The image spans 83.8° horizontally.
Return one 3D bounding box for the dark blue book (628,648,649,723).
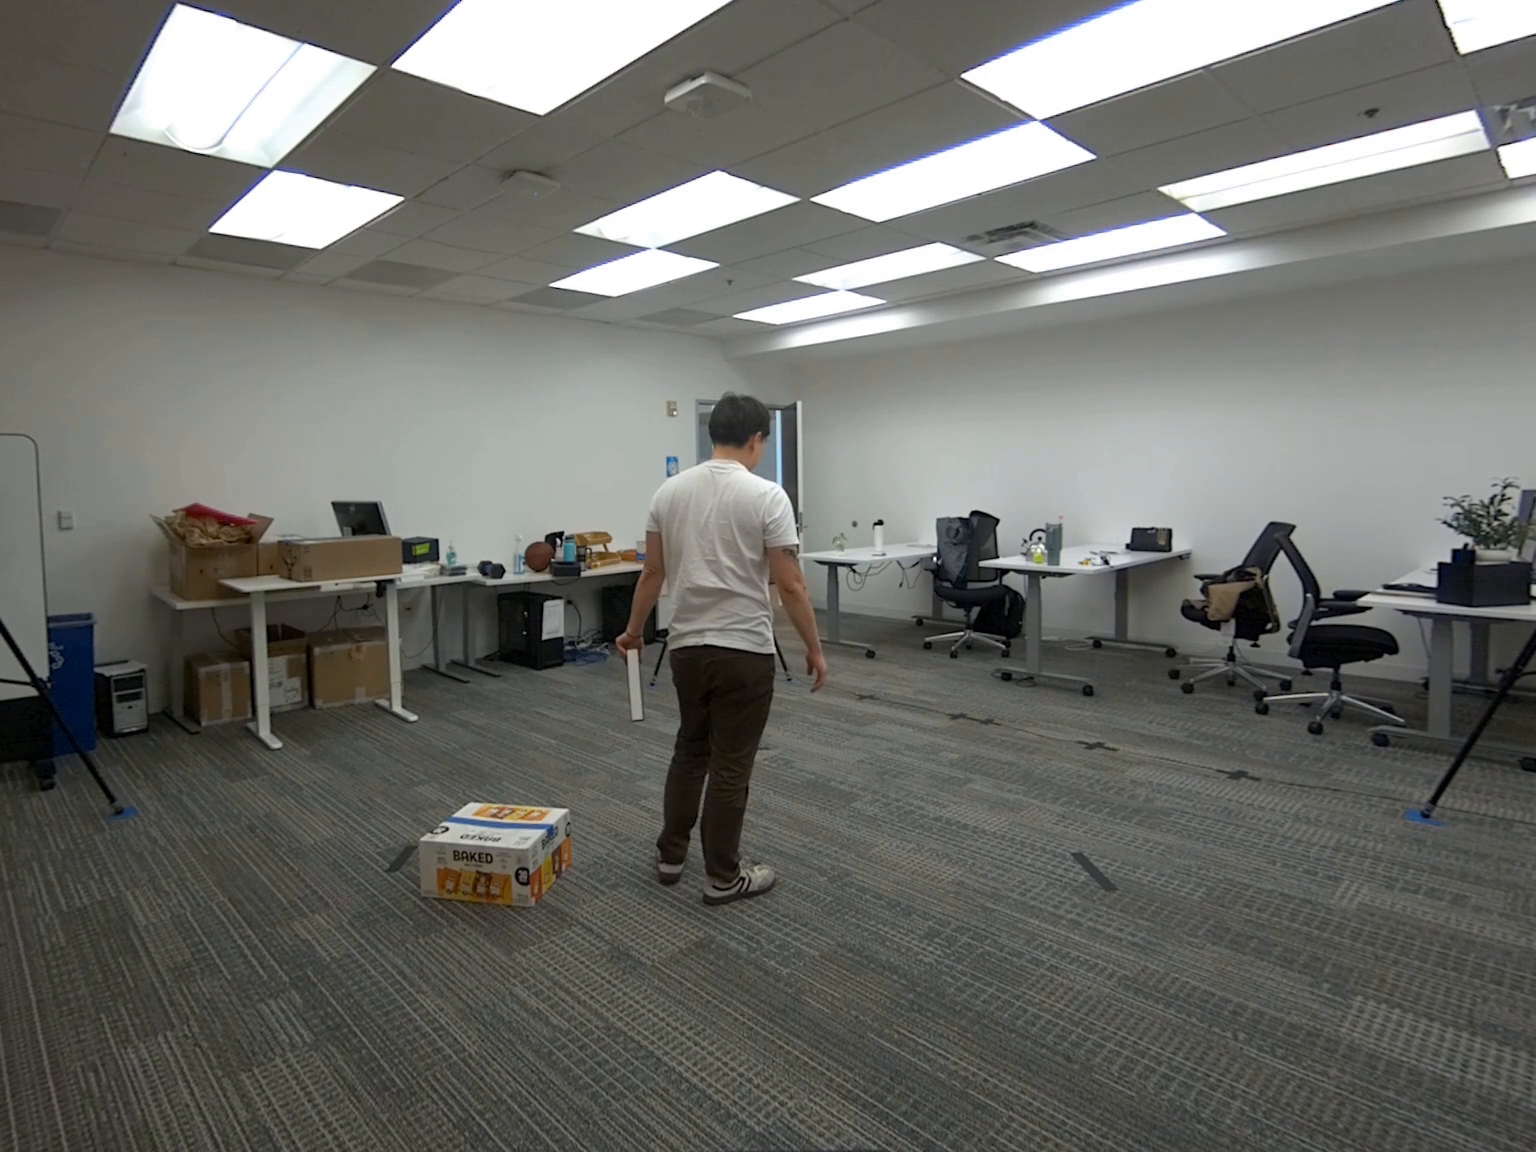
[{"bbox_3d":[-0.454,0.382,2.983,0.045,0.248,0.163,-5,-11,-10],"label":"dark blue book"}]
